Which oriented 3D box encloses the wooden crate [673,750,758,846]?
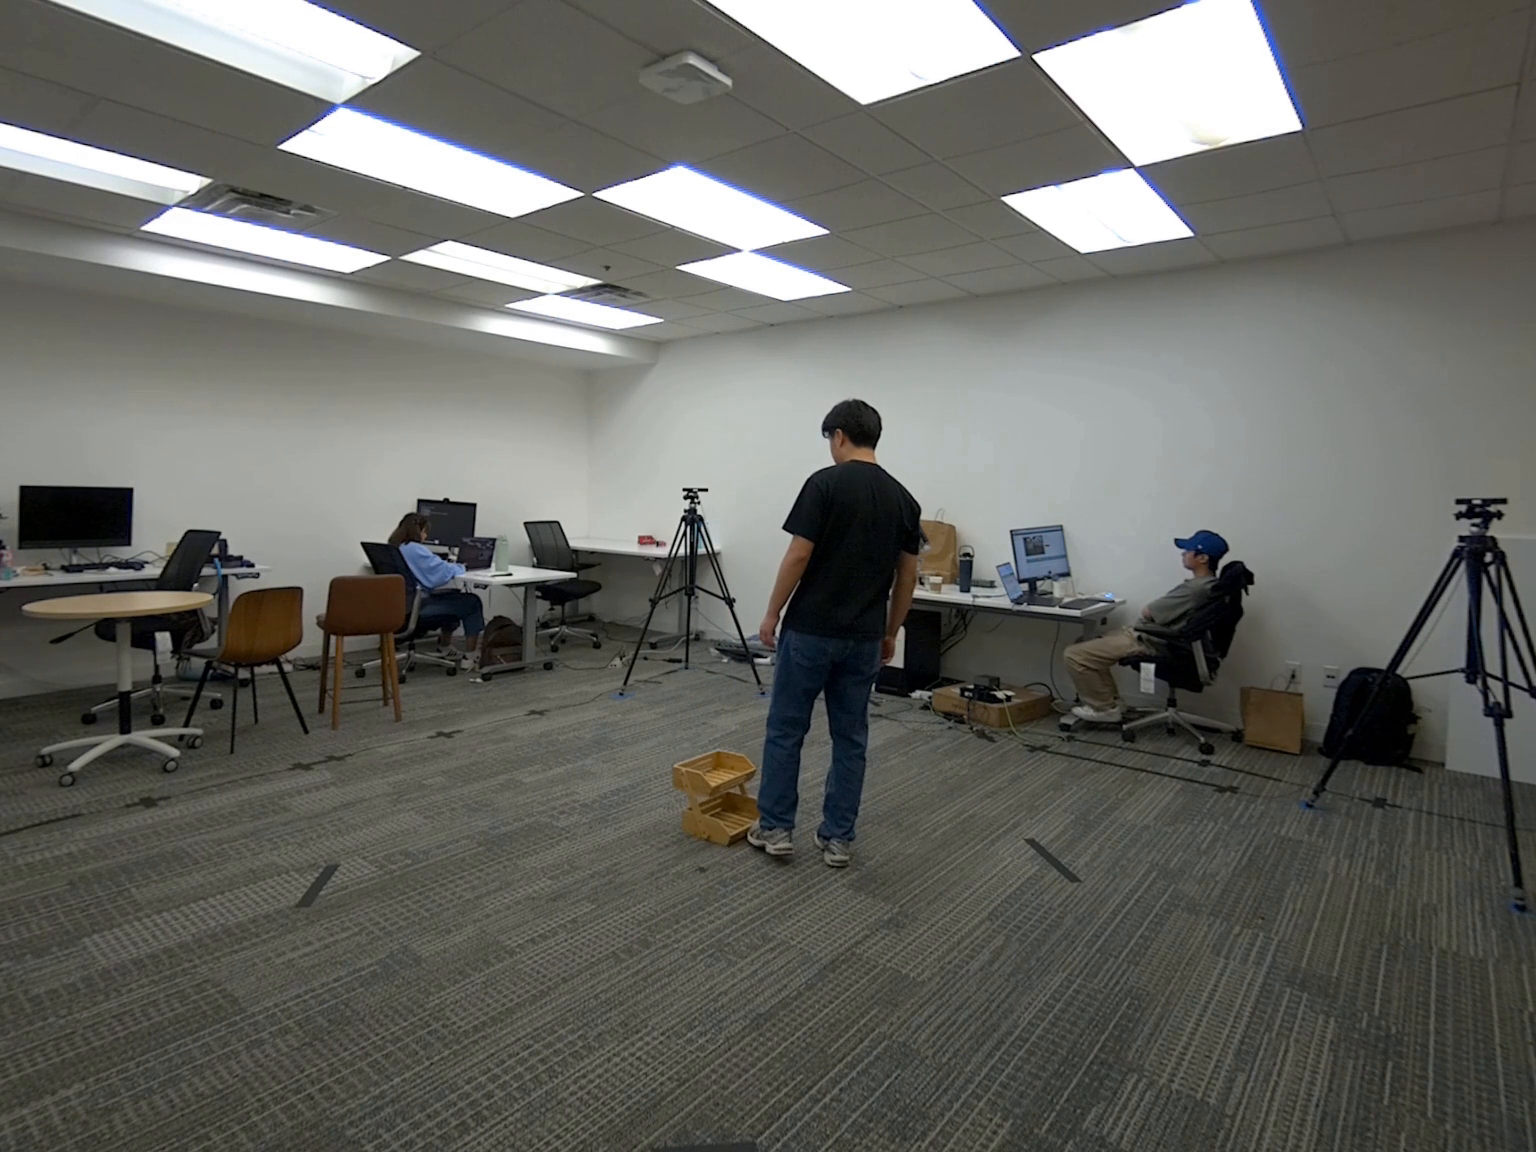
[{"bbox_3d":[-0.190,0.898,3.503,0.312,0.272,0.315,3,5,36],"label":"wooden crate"}]
